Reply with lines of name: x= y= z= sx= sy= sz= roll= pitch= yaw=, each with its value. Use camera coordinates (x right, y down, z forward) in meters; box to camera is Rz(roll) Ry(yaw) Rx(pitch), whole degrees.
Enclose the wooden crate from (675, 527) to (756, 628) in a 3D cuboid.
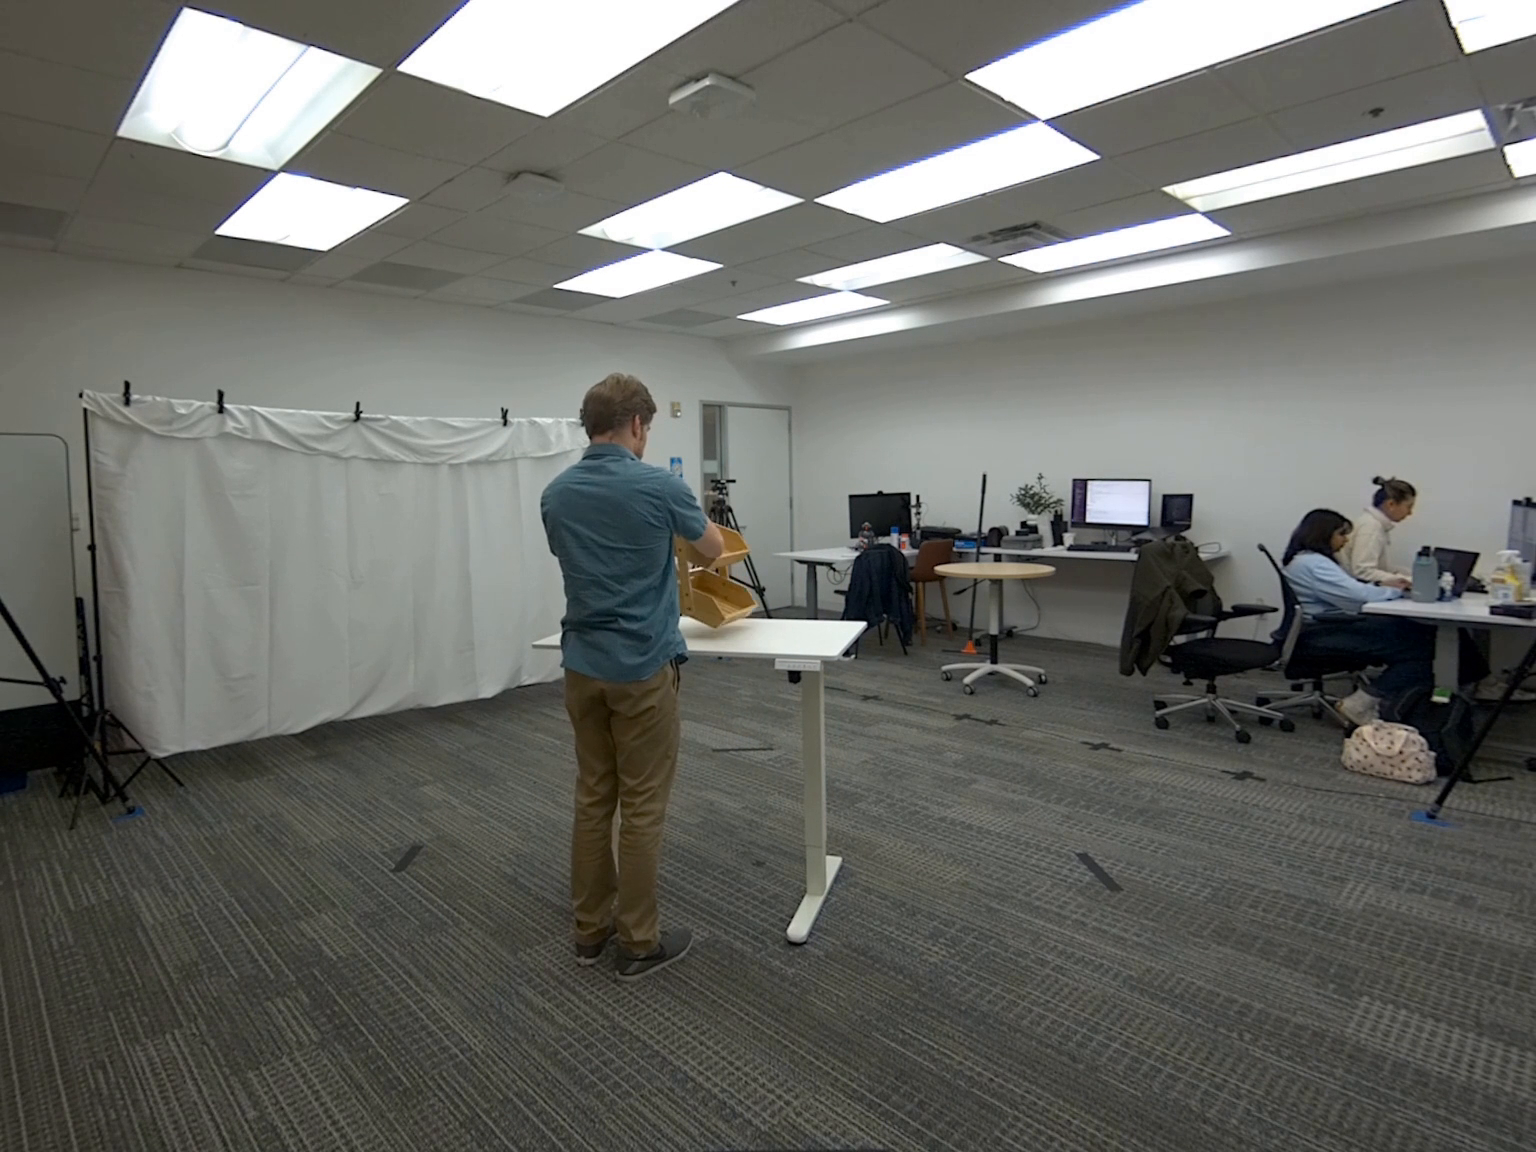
wooden crate: x=-0.181 y=-0.022 z=2.899 sx=0.309 sy=0.271 sz=0.319 roll=22 pitch=11 yaw=18
